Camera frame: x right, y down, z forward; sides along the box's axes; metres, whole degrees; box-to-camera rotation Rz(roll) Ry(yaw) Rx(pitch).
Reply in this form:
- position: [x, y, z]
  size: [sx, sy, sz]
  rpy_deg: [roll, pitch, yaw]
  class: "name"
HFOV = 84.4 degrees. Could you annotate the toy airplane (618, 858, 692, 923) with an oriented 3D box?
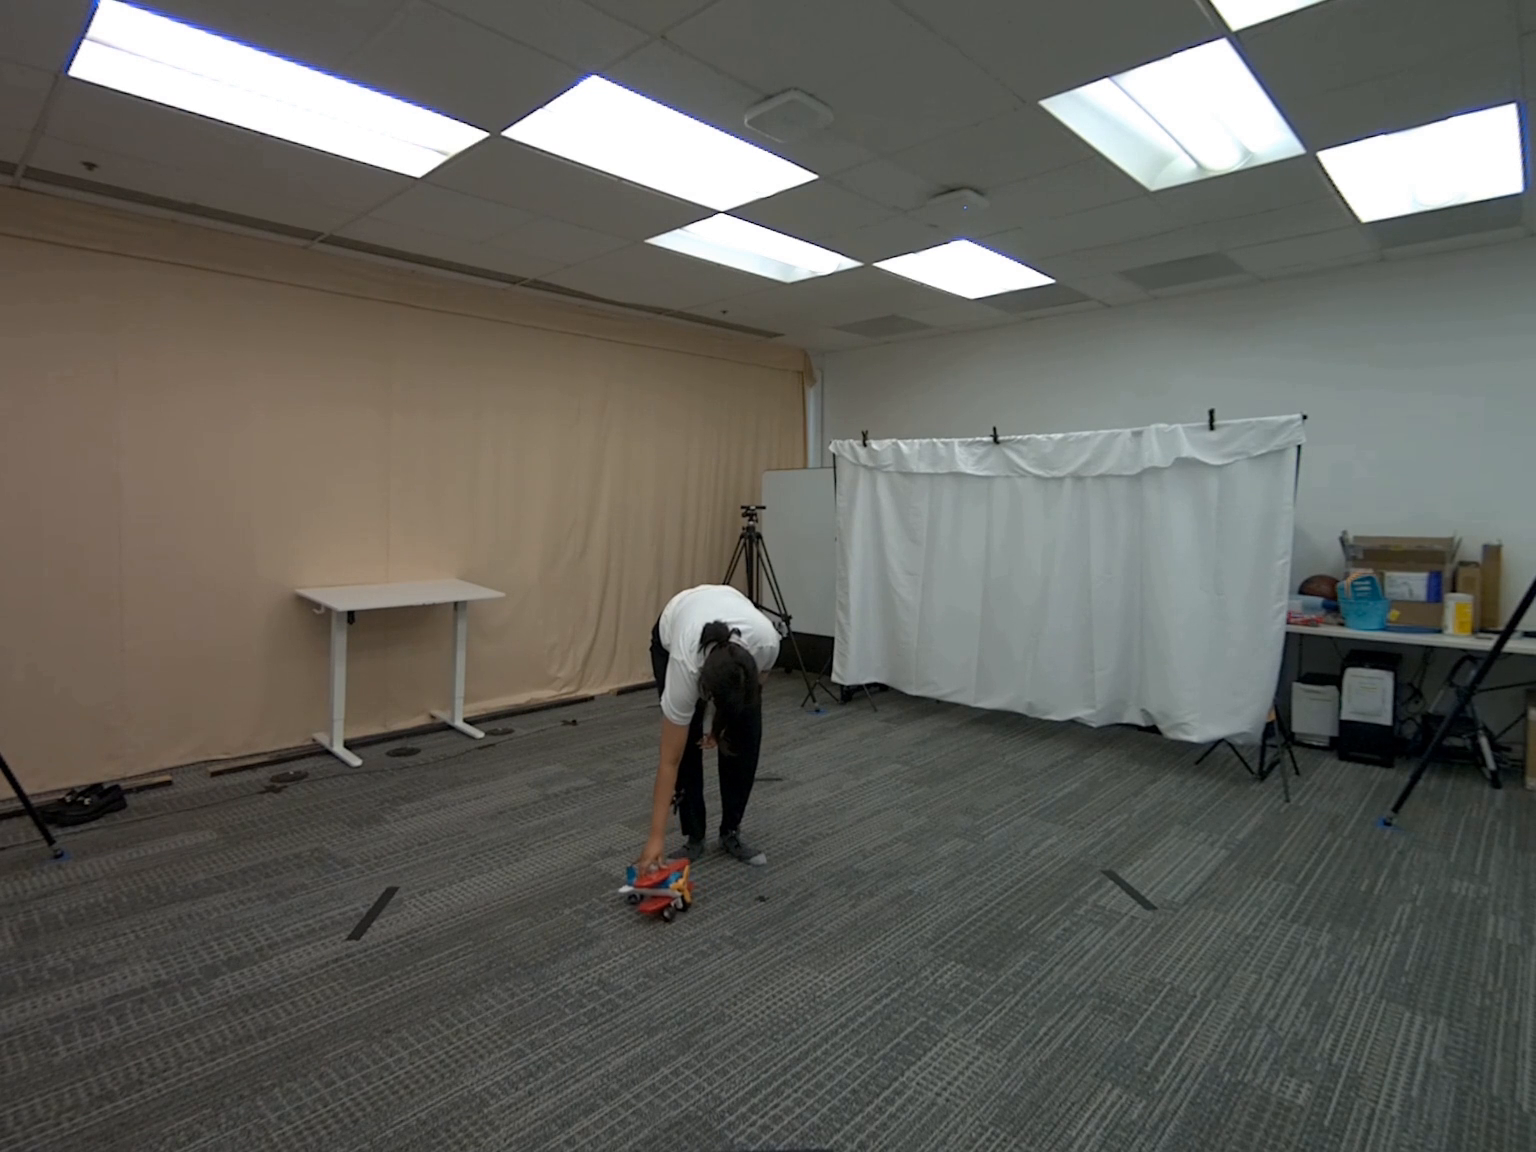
- position: [-0.398, 1.077, 2.891]
  size: [0.261, 0.156, 0.250]
  rpy_deg: [1, 5, 5]
  class: "toy airplane"
